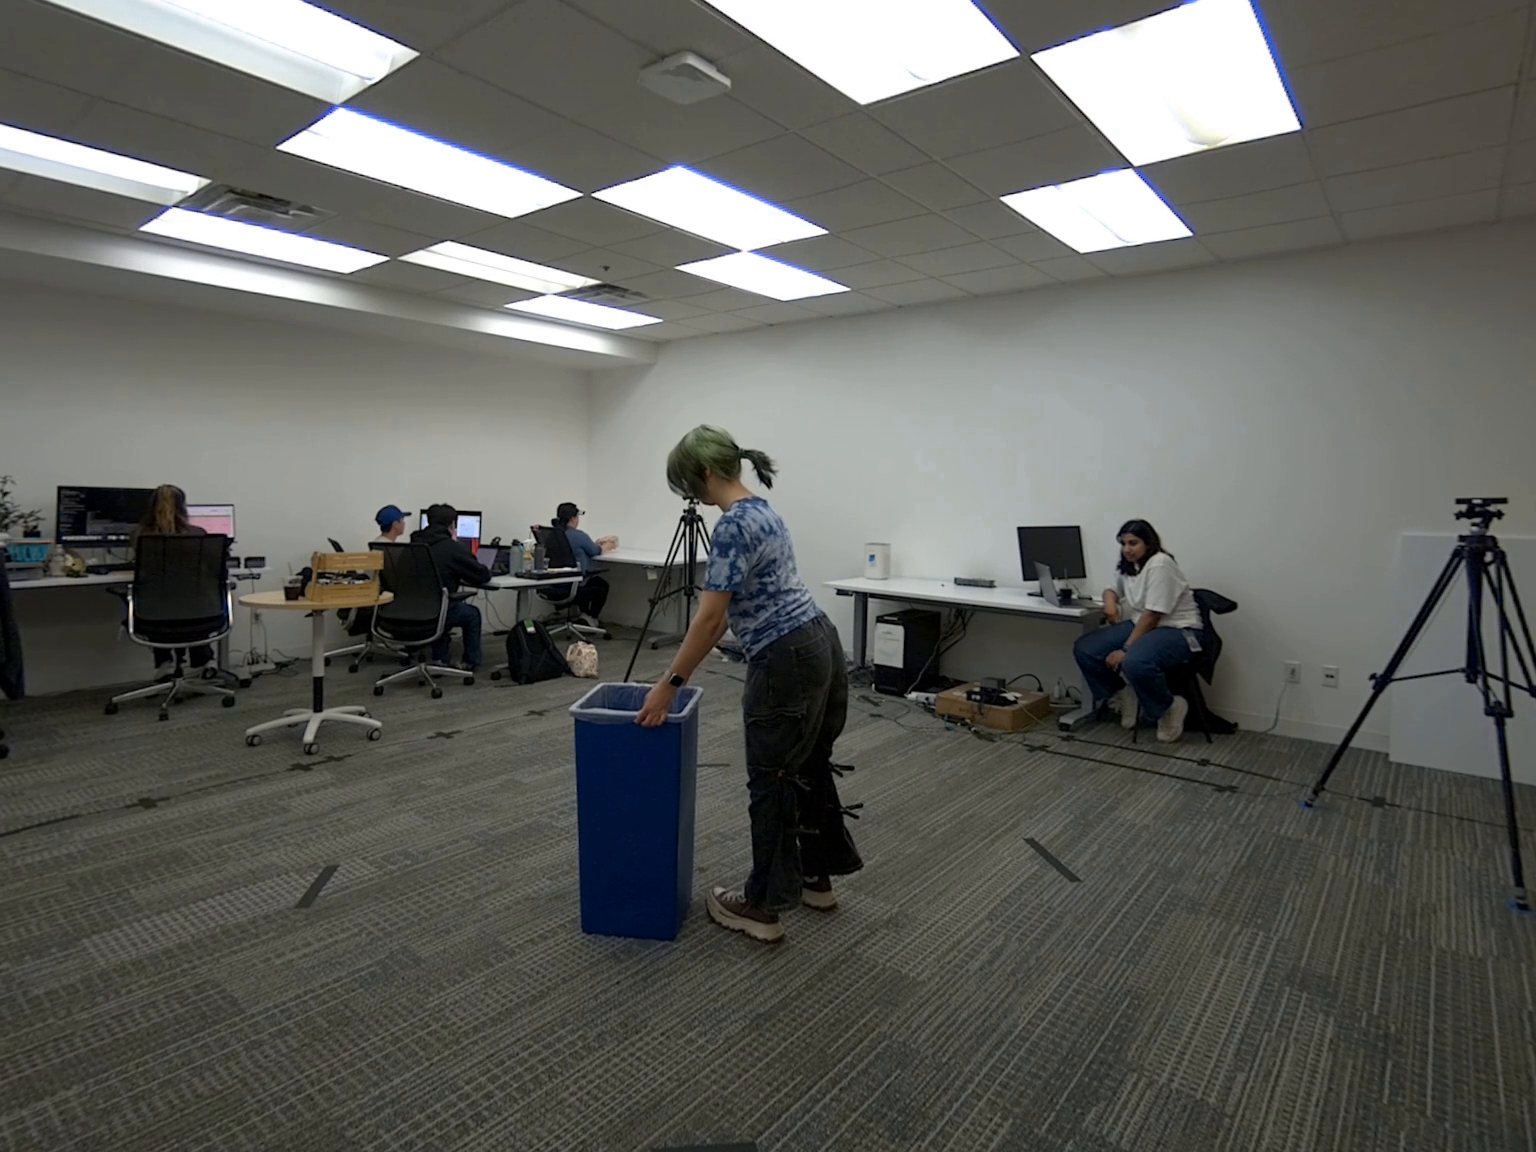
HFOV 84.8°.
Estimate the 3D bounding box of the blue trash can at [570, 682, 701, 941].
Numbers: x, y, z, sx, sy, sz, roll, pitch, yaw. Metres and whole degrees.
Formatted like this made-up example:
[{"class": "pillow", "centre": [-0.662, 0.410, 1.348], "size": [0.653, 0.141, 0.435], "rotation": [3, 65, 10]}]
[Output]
[{"class": "blue trash can", "centre": [-0.422, 0.743, 2.747], "size": [0.381, 0.712, 0.372], "rotation": [1, 3, 7]}]
